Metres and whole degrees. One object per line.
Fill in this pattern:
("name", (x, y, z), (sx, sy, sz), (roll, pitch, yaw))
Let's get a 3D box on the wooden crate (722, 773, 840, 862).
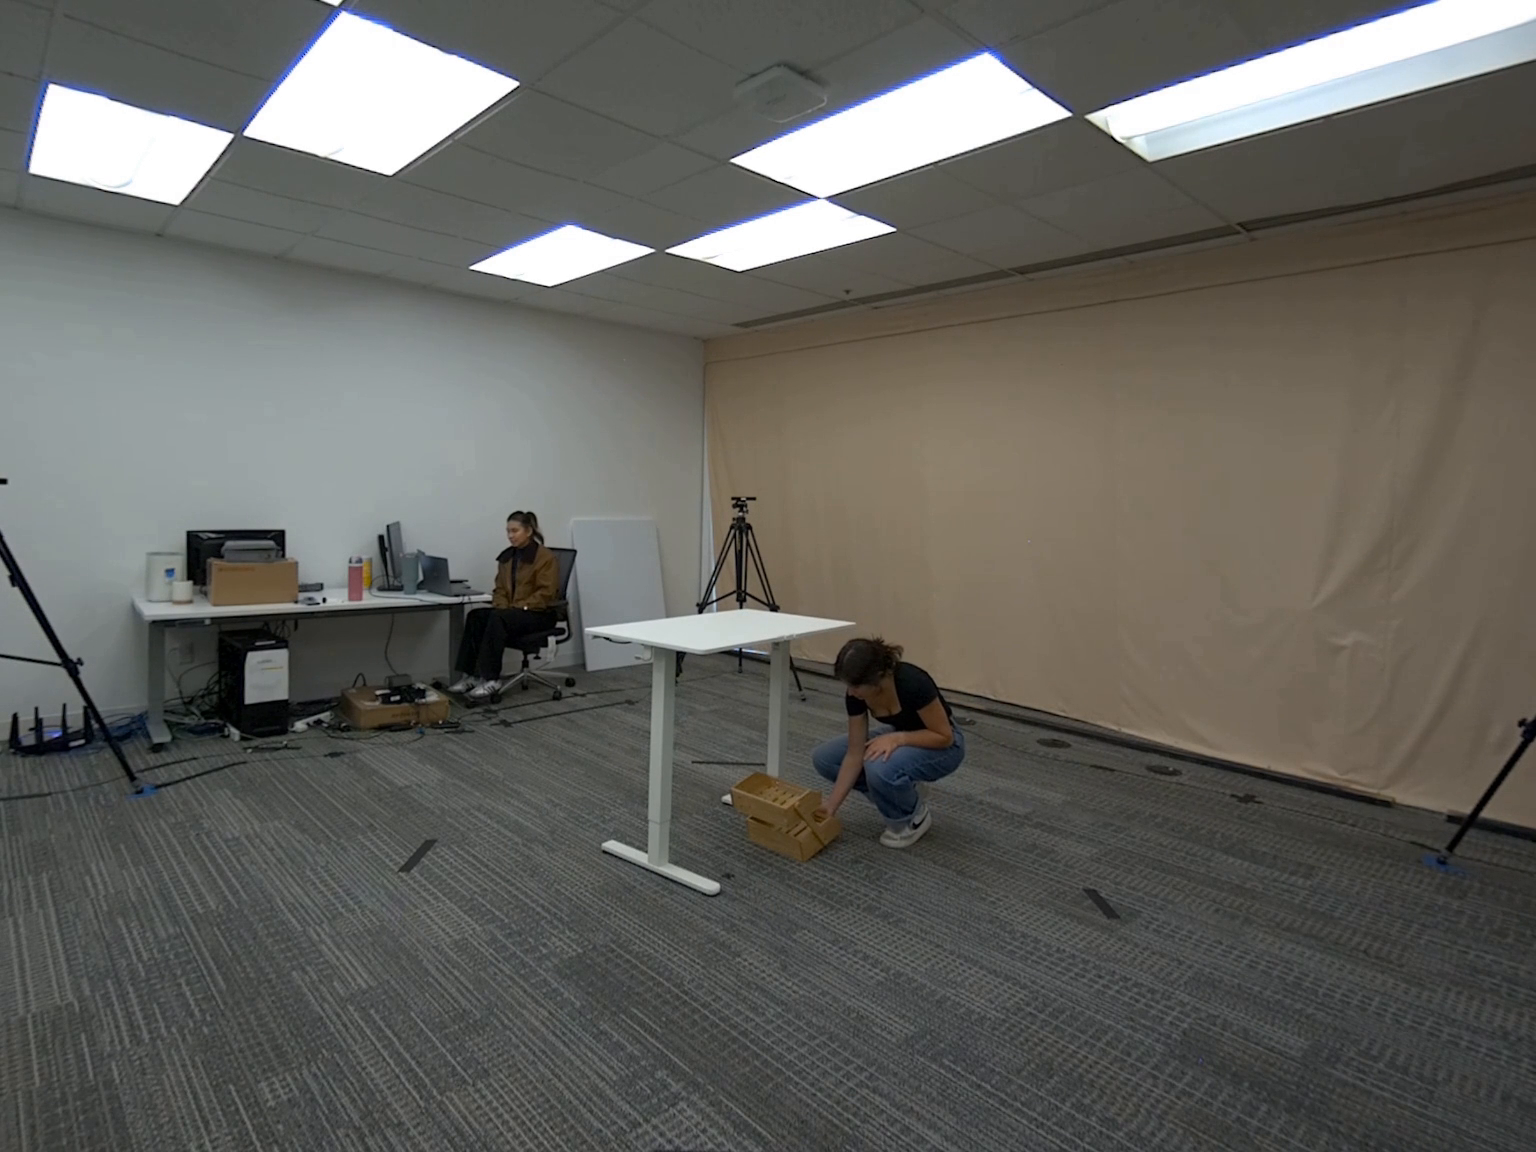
("wooden crate", (0.069, 0.935, 3.376), (0.333, 0.270, 0.298), (5, 20, 42))
